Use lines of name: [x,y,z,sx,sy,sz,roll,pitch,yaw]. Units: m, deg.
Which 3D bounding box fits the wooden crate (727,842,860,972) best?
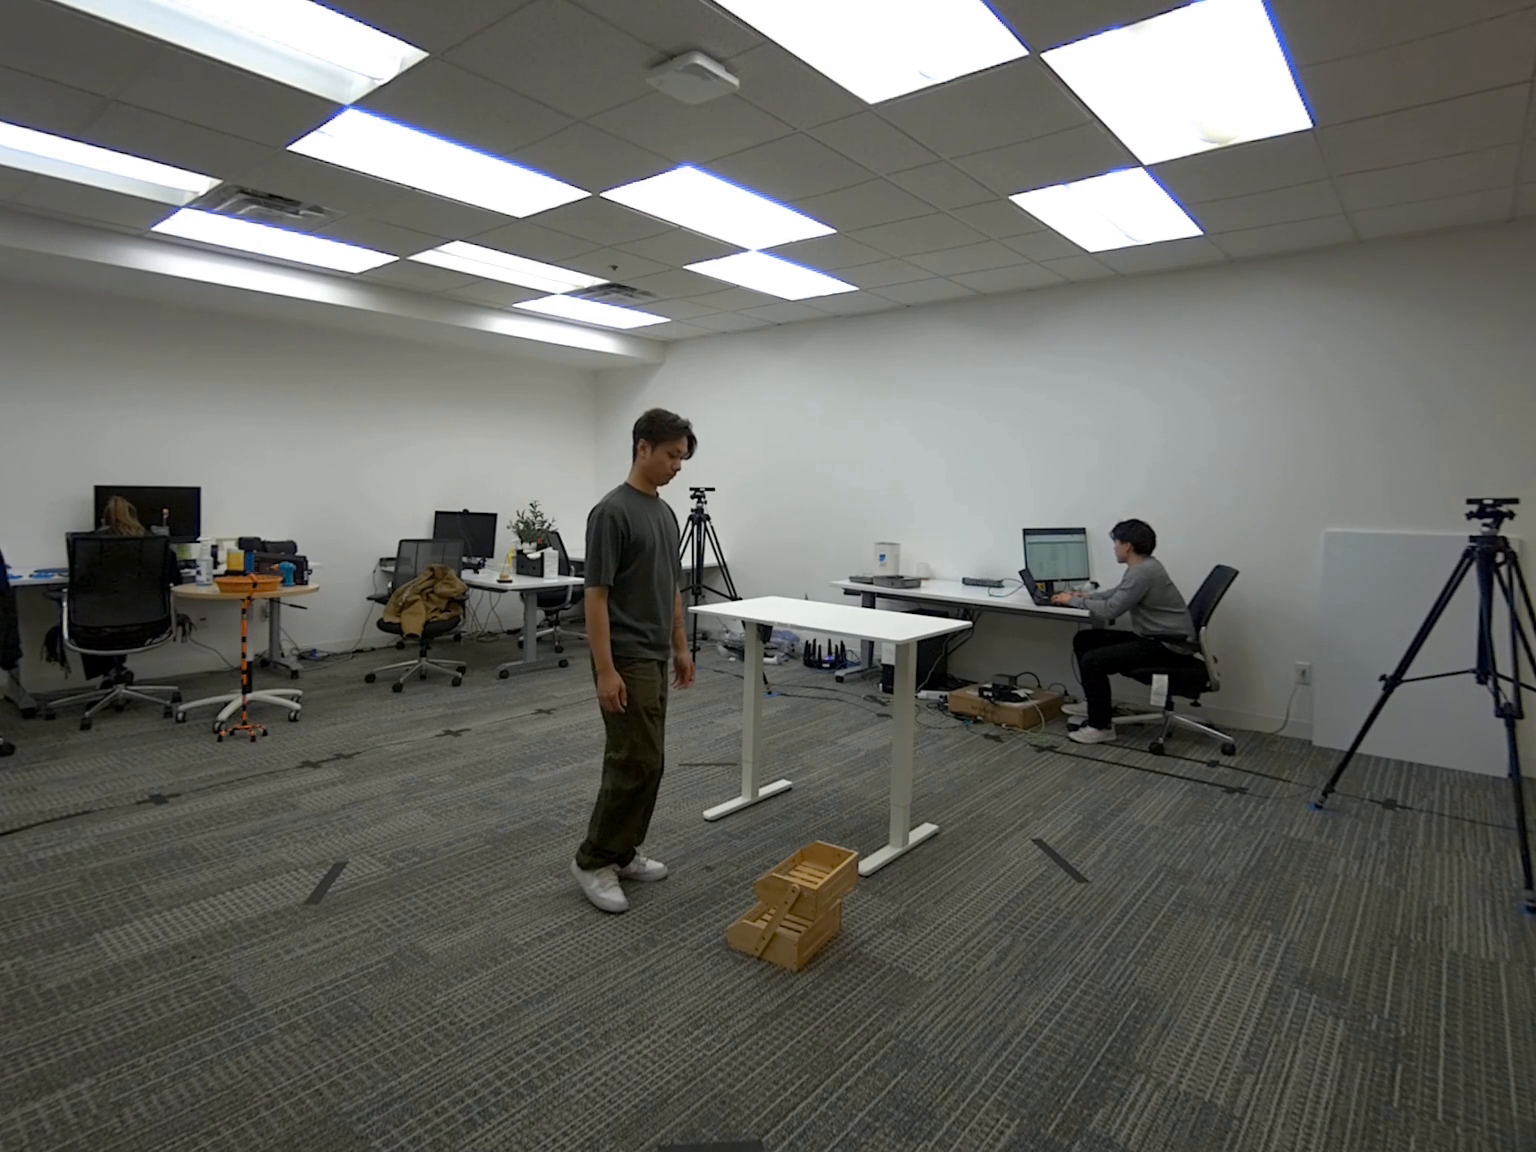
wooden crate: [0.069,0.985,2.622,0.311,0.272,0.316,5,5,32]
